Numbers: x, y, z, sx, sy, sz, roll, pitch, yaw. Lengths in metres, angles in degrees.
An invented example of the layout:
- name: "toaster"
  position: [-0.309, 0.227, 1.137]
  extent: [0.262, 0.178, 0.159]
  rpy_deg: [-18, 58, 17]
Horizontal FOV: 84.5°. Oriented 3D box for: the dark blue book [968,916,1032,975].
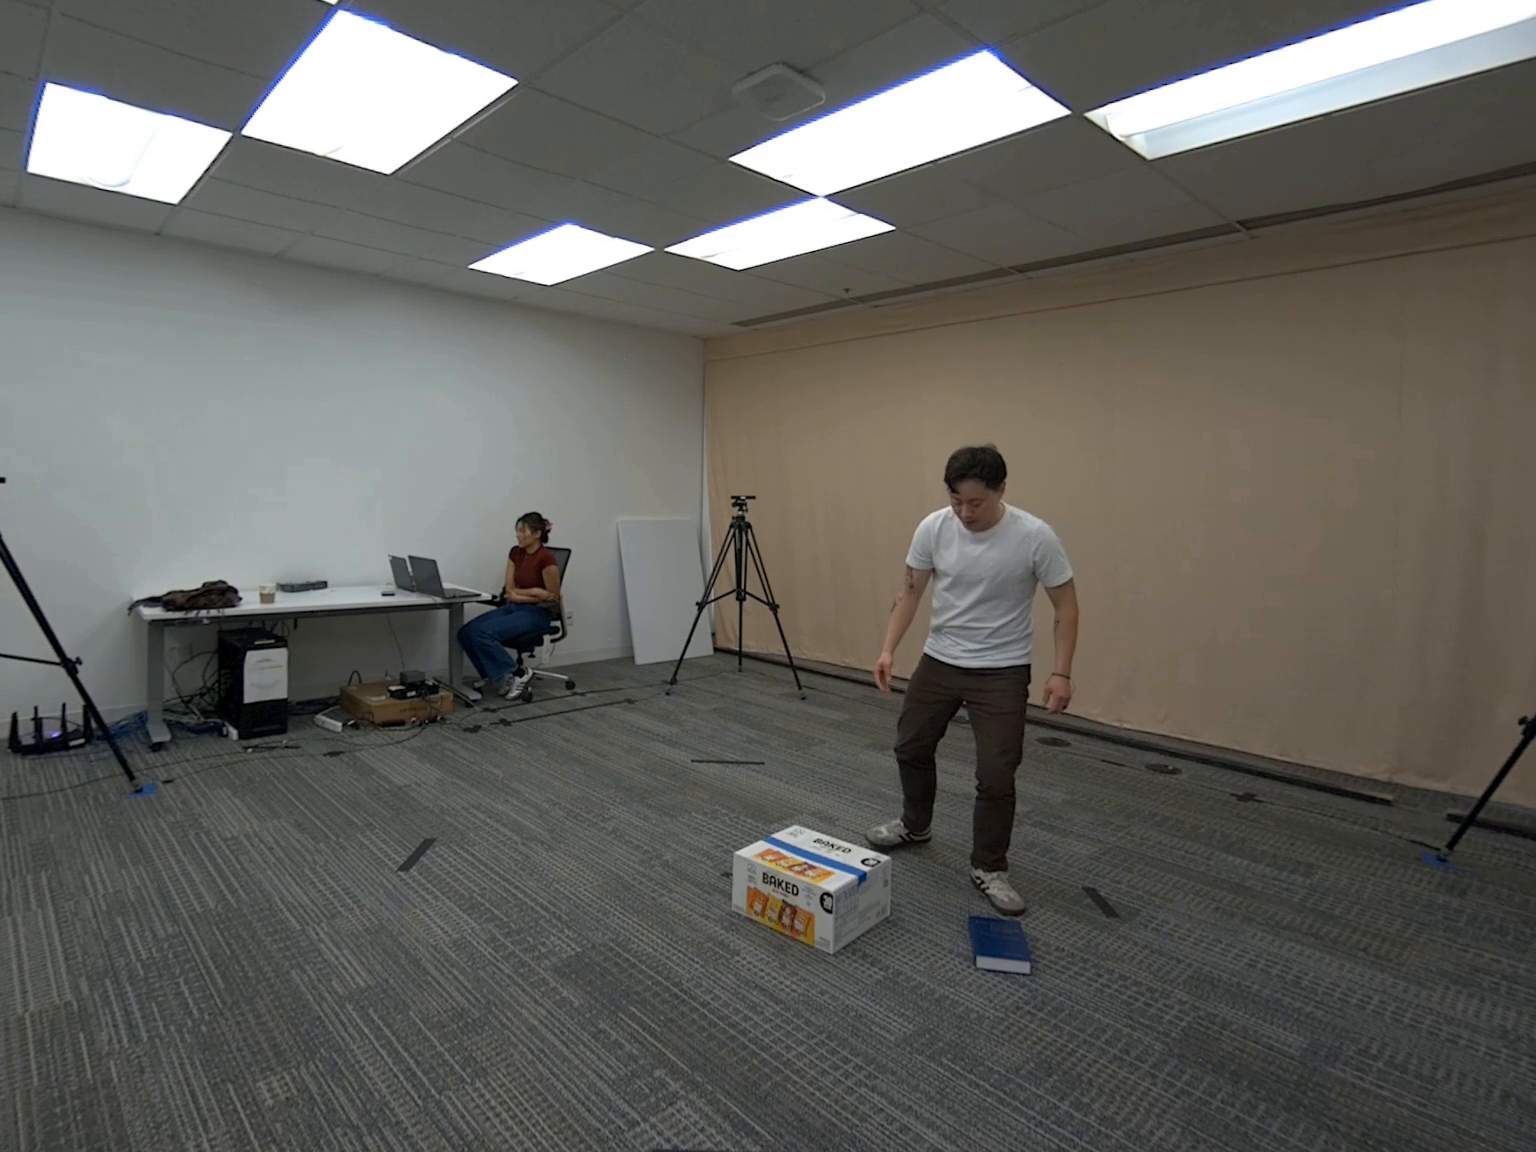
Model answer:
- name: "dark blue book"
  position: [0.707, 1.145, 2.614]
  extent: [0.165, 0.045, 0.244]
  rpy_deg: [3, 5, 9]
